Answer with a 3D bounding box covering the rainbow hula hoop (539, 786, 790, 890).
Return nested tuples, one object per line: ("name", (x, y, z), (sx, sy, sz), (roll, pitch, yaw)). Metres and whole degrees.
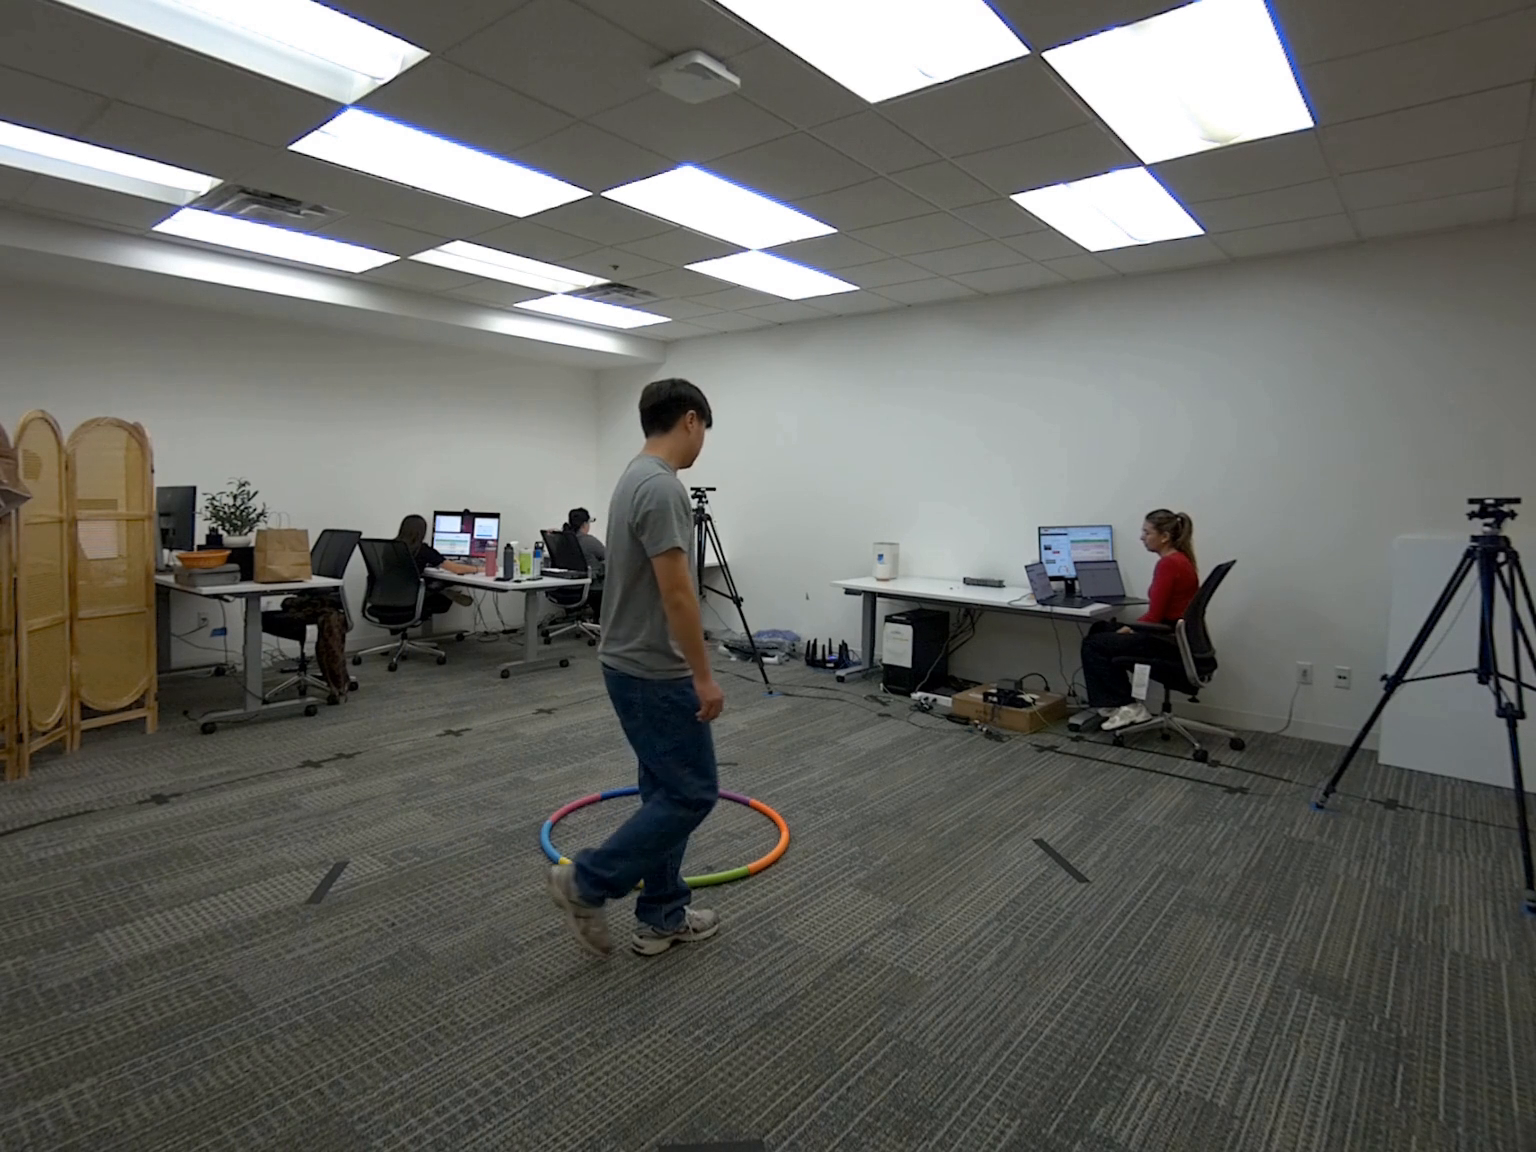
("rainbow hula hoop", (-0.416, 1.003, 3.402), (0.978, 0.035, 0.984), (1, 6, -2))
